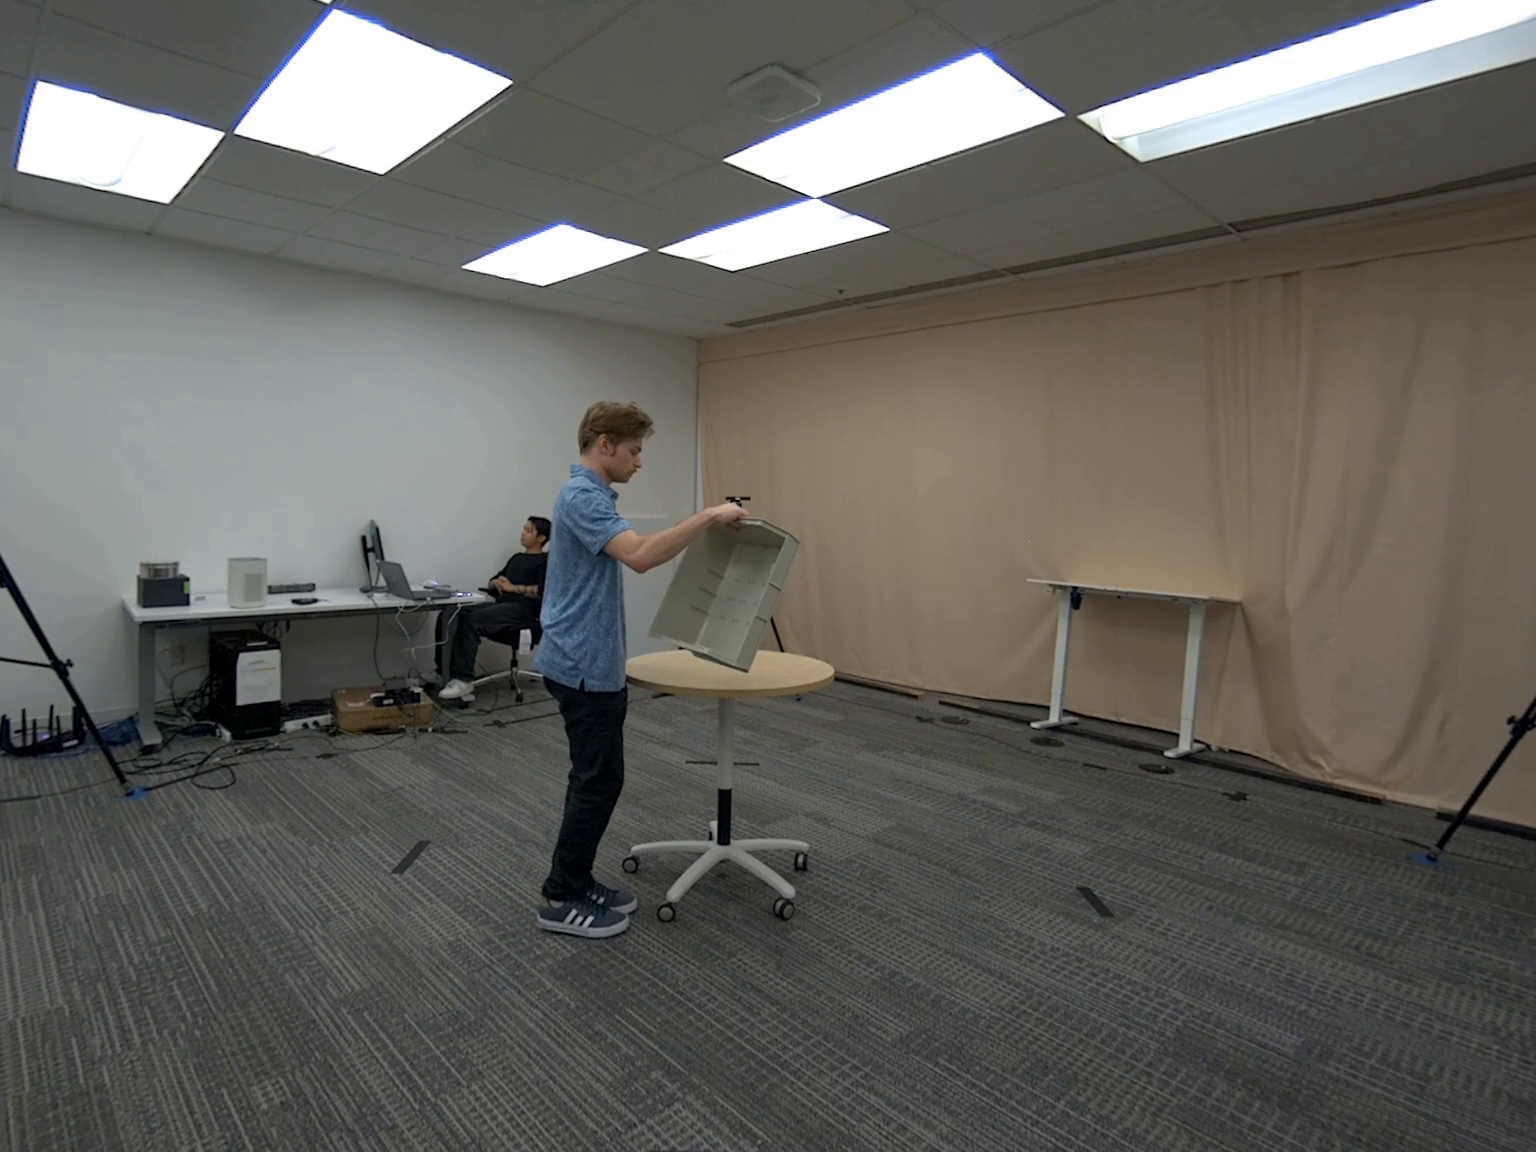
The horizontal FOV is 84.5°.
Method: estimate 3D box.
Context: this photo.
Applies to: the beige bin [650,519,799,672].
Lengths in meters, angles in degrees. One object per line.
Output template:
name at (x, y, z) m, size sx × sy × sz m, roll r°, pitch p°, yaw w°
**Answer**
beige bin at (-0.140, 0.047, 2.547) m, size 0.184 × 0.424 × 0.386 m, roll 30°, pitch -13°, yaw -32°
